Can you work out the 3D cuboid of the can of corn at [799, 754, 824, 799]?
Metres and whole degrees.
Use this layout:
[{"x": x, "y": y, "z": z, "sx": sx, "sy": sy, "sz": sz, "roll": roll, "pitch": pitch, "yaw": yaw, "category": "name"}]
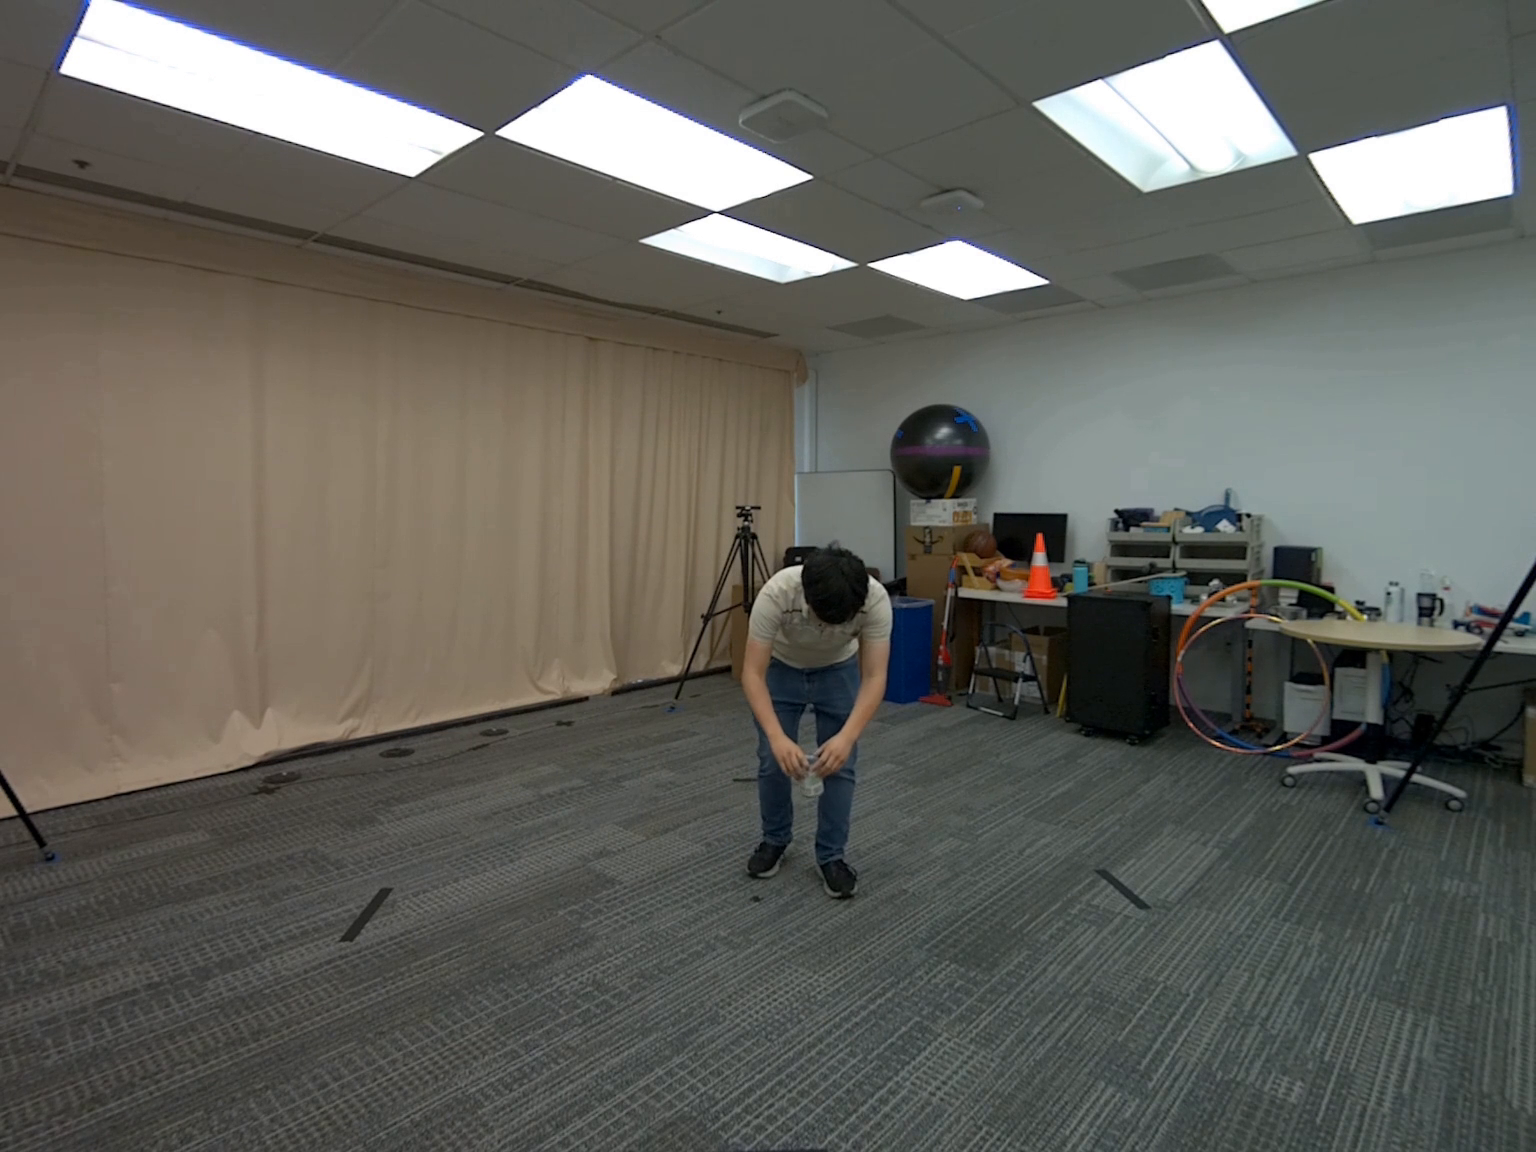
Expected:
[{"x": 0.132, "y": 0.633, "z": 2.655, "sx": 0.074, "sy": 0.110, "sz": 0.075, "roll": -9, "pitch": 9, "yaw": 0, "category": "can of corn"}]
